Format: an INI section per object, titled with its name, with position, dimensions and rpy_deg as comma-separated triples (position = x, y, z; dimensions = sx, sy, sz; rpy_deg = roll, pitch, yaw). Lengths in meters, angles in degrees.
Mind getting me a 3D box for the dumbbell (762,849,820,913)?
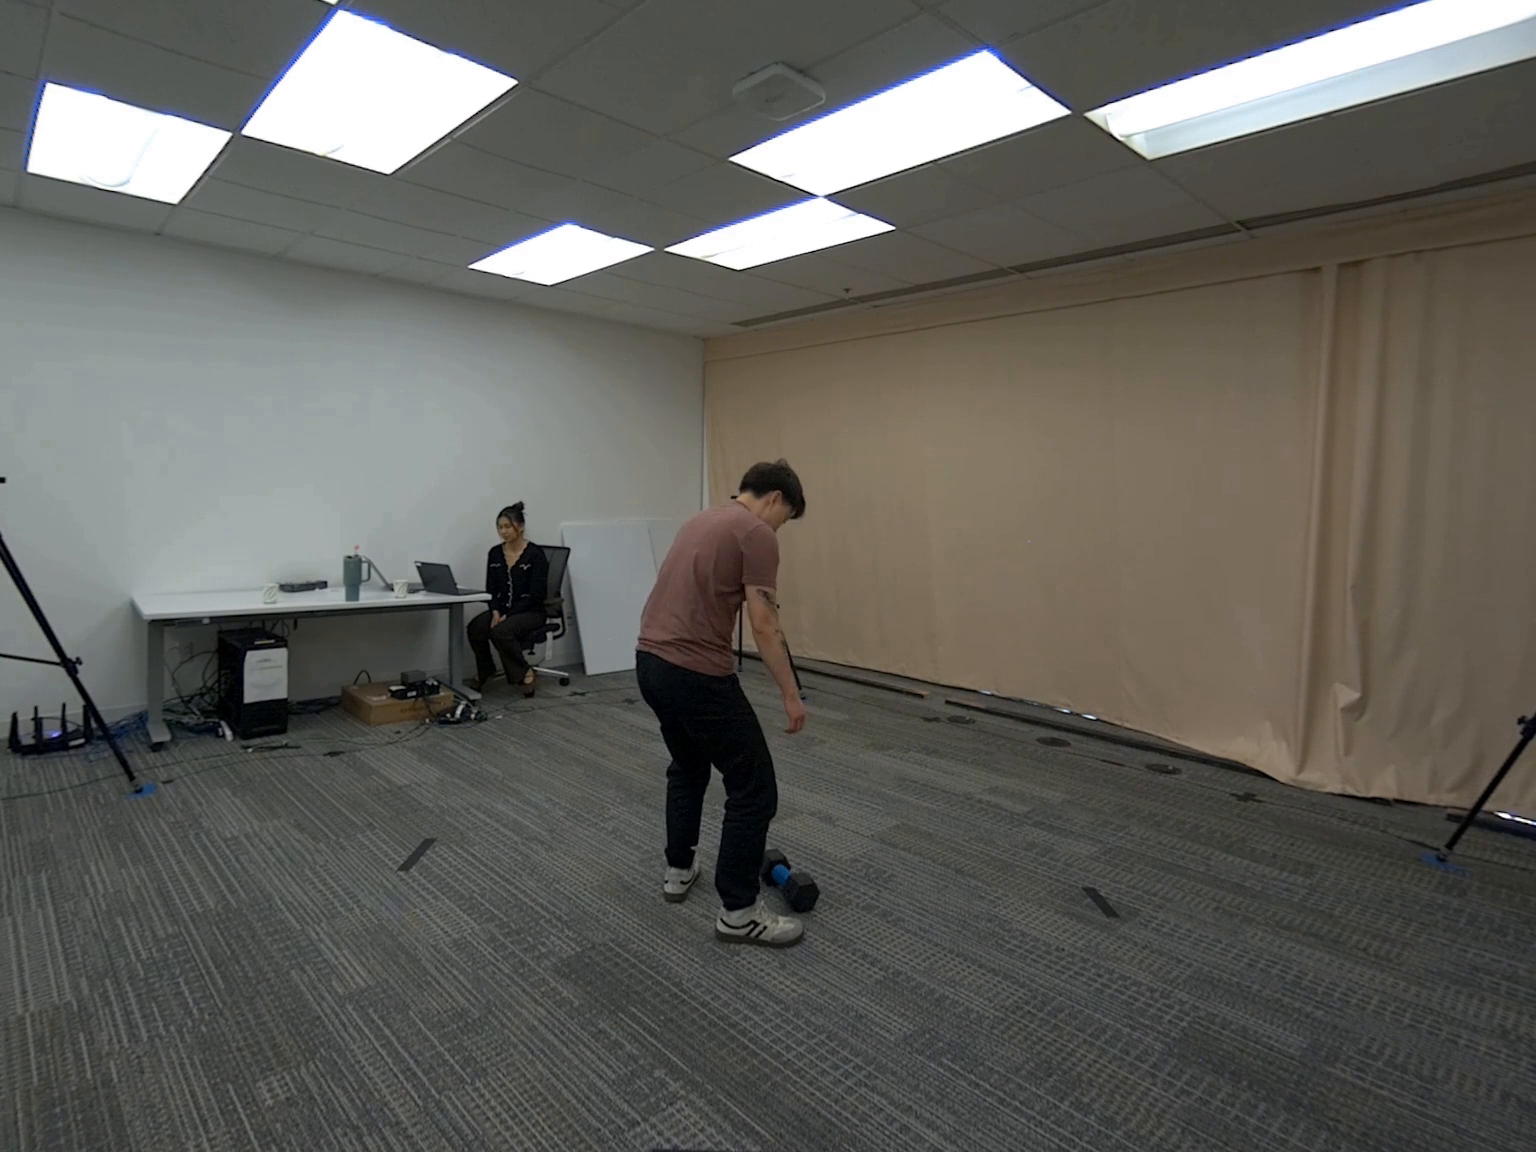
[dumbbell]
position = 0.057, 1.065, 2.950
dimensions = 0.106, 0.123, 0.299
rpy_deg = 33, -9, -24
